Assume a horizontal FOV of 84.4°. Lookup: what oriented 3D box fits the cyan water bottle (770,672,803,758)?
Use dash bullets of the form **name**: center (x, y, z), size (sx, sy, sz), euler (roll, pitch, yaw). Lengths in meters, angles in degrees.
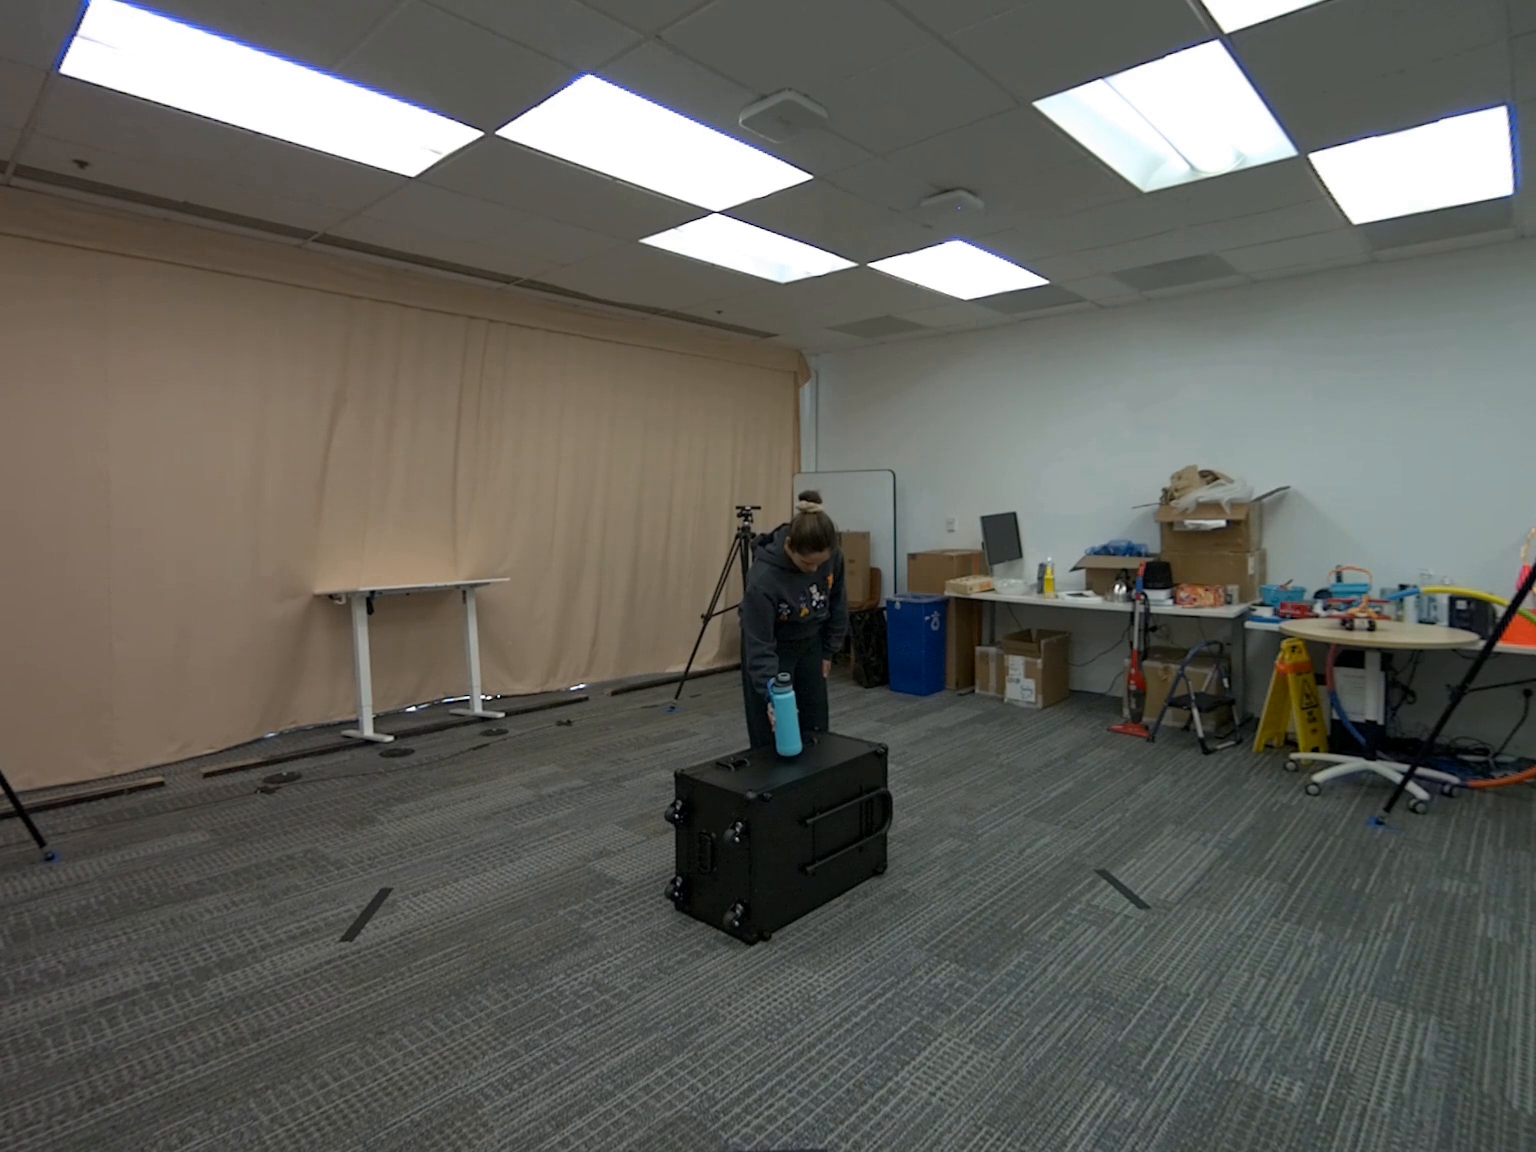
- **cyan water bottle**: center (0.066, 0.491, 3.007), size (0.092, 0.281, 0.093), euler (-9, 10, 0)
